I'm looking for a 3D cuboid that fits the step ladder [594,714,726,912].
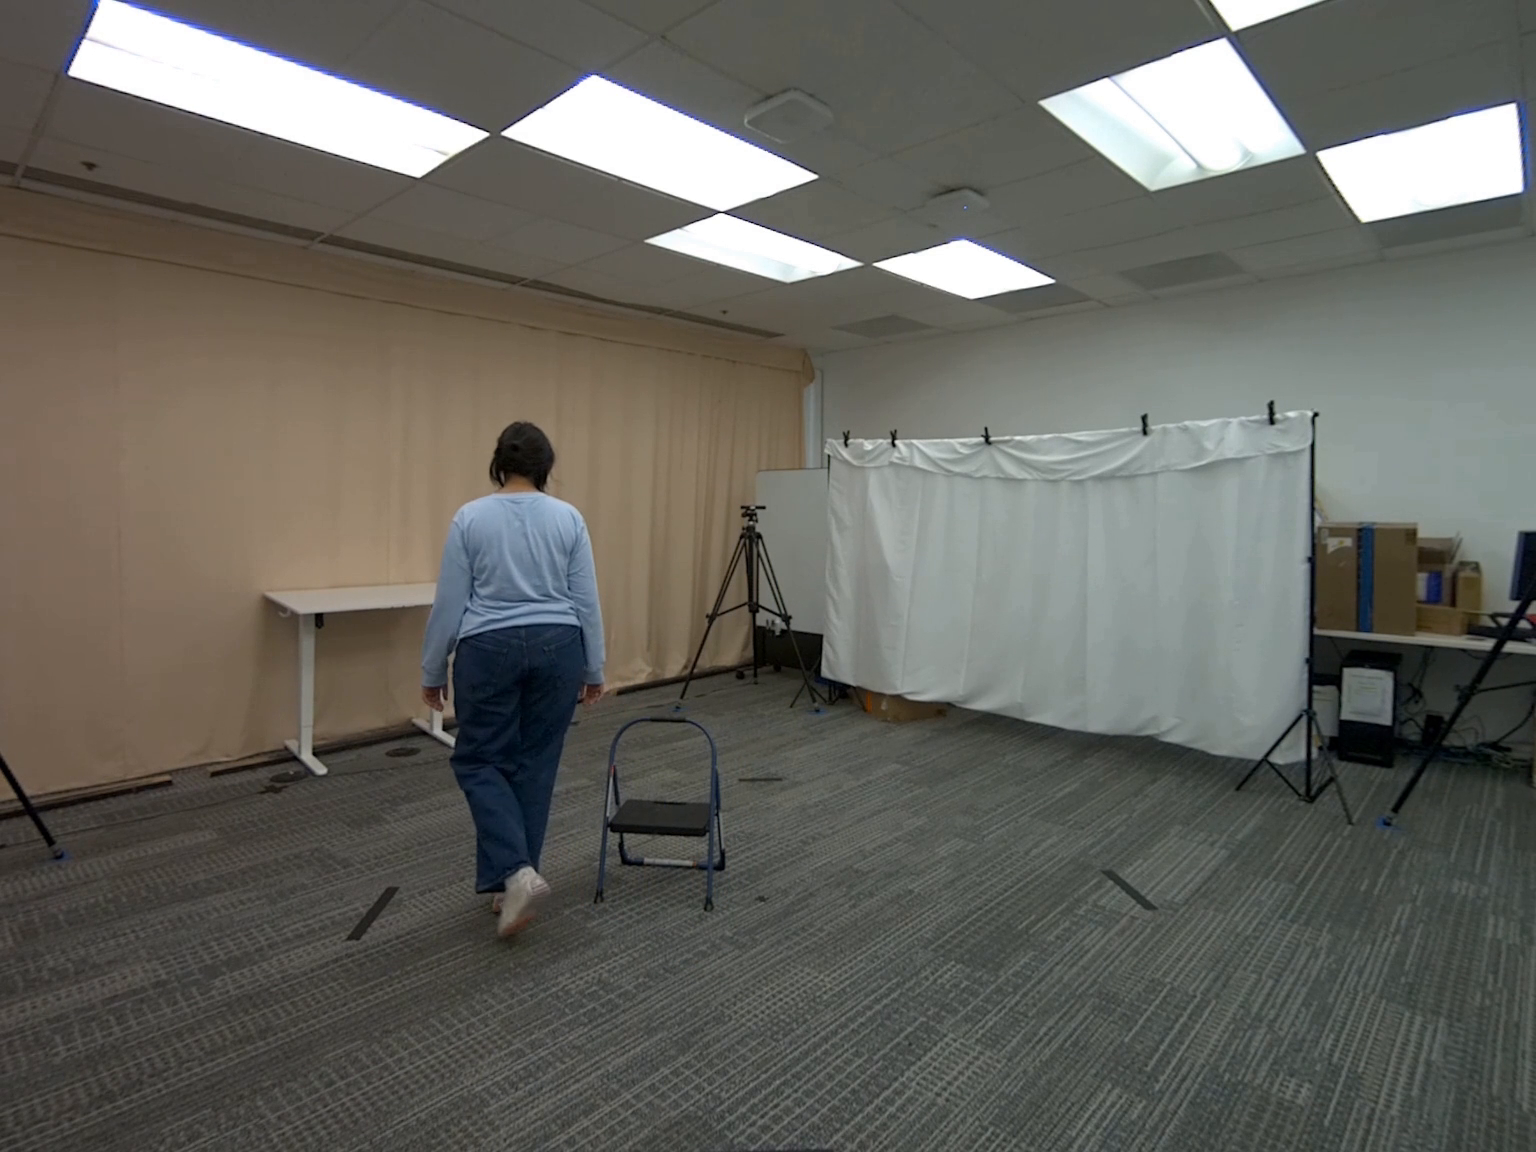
[{"bbox_3d":[-0.386,0.836,3.092,0.435,0.605,0.347,0,3,8],"label":"step ladder"}]
